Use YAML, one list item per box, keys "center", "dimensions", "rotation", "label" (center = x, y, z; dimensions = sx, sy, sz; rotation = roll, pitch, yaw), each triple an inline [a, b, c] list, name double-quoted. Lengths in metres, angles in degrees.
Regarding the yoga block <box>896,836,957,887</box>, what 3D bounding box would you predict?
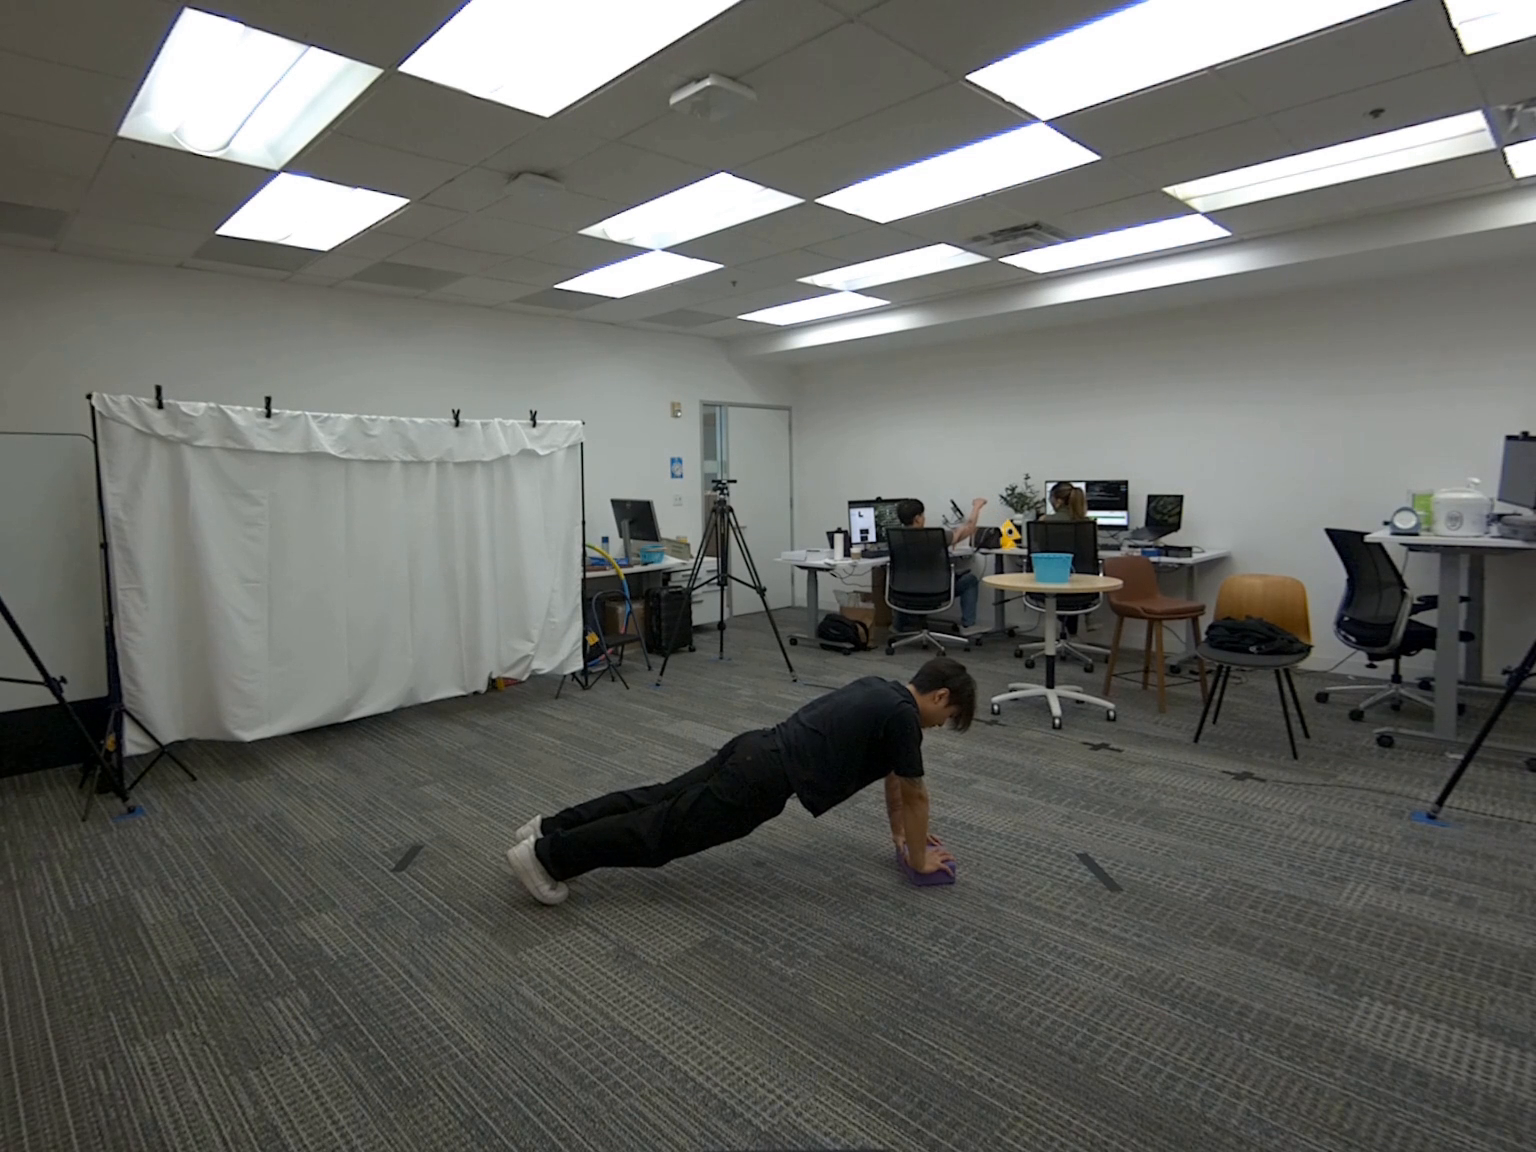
- center: [0.554, 1.003, 3.025]
  dimensions: [0.148, 0.076, 0.232]
  rotation: [-2, 5, -7]
  label: "yoga block"
